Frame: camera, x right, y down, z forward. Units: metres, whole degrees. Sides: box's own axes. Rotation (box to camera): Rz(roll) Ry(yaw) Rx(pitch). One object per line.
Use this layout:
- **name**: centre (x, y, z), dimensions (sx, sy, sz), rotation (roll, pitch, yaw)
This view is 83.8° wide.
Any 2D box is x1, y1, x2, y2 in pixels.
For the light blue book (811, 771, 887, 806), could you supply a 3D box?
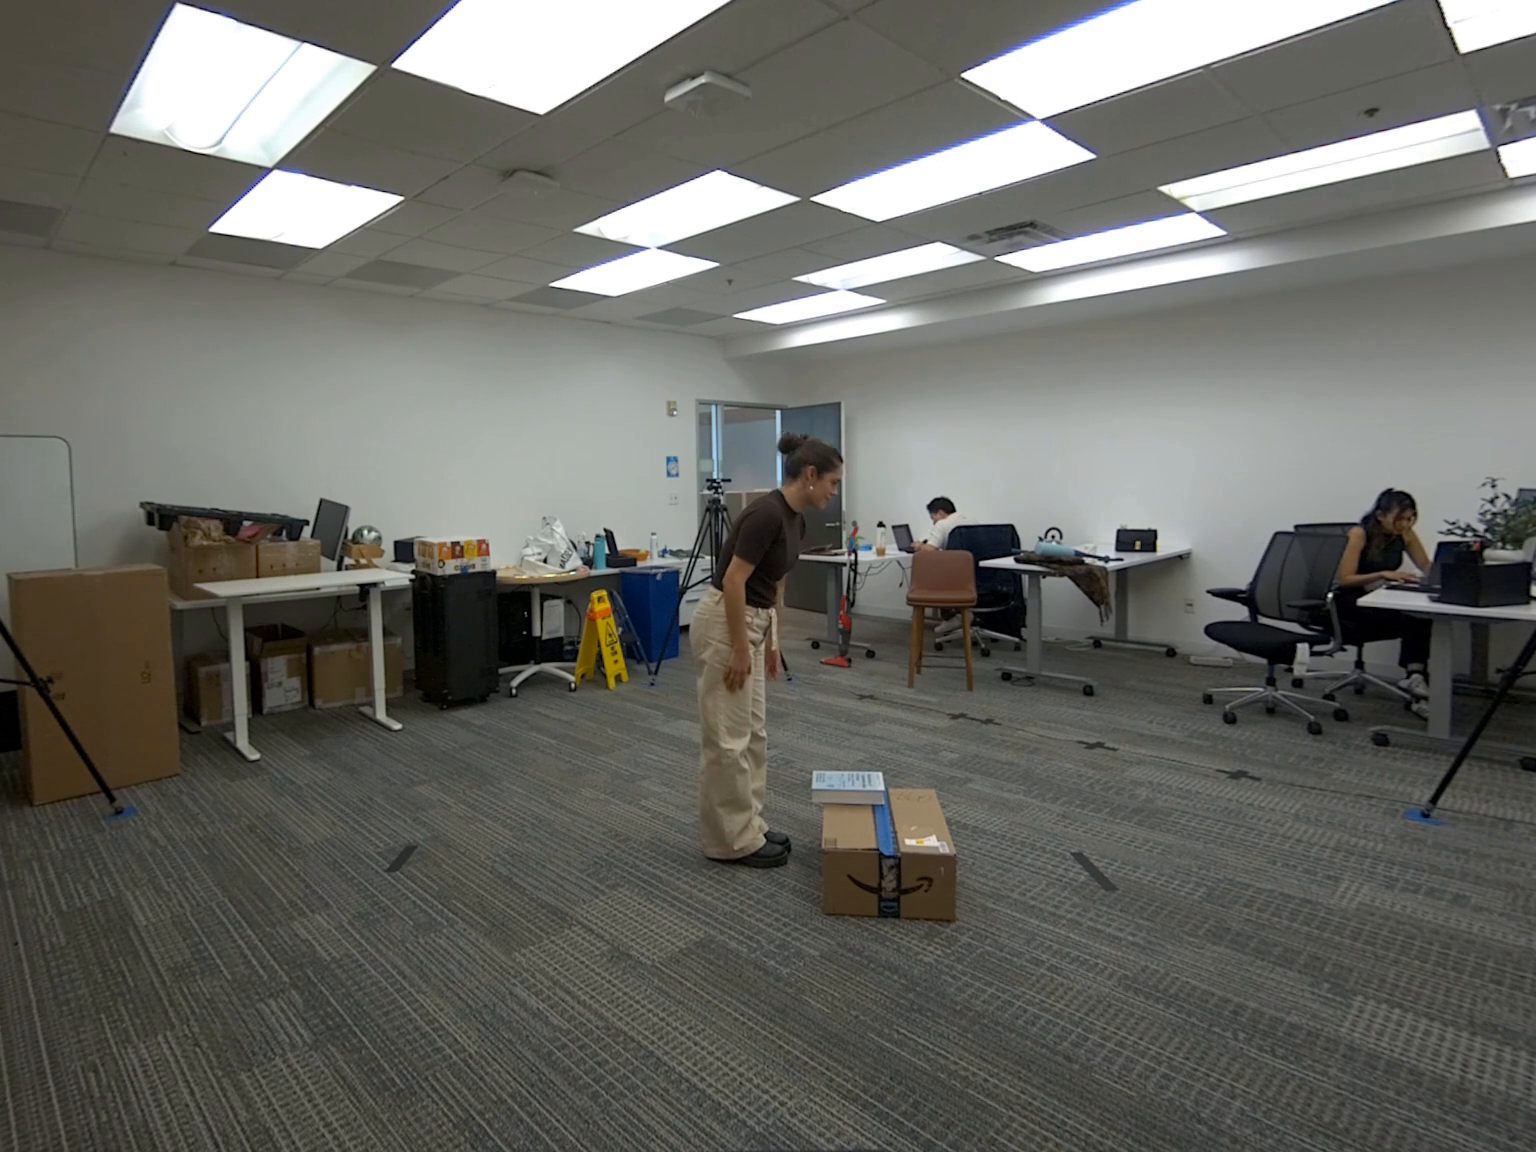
- **light blue book**: centre (0.294, 0.779, 3.172), dimensions (0.263, 0.059, 0.191), rotation (-1, 7, 6)
